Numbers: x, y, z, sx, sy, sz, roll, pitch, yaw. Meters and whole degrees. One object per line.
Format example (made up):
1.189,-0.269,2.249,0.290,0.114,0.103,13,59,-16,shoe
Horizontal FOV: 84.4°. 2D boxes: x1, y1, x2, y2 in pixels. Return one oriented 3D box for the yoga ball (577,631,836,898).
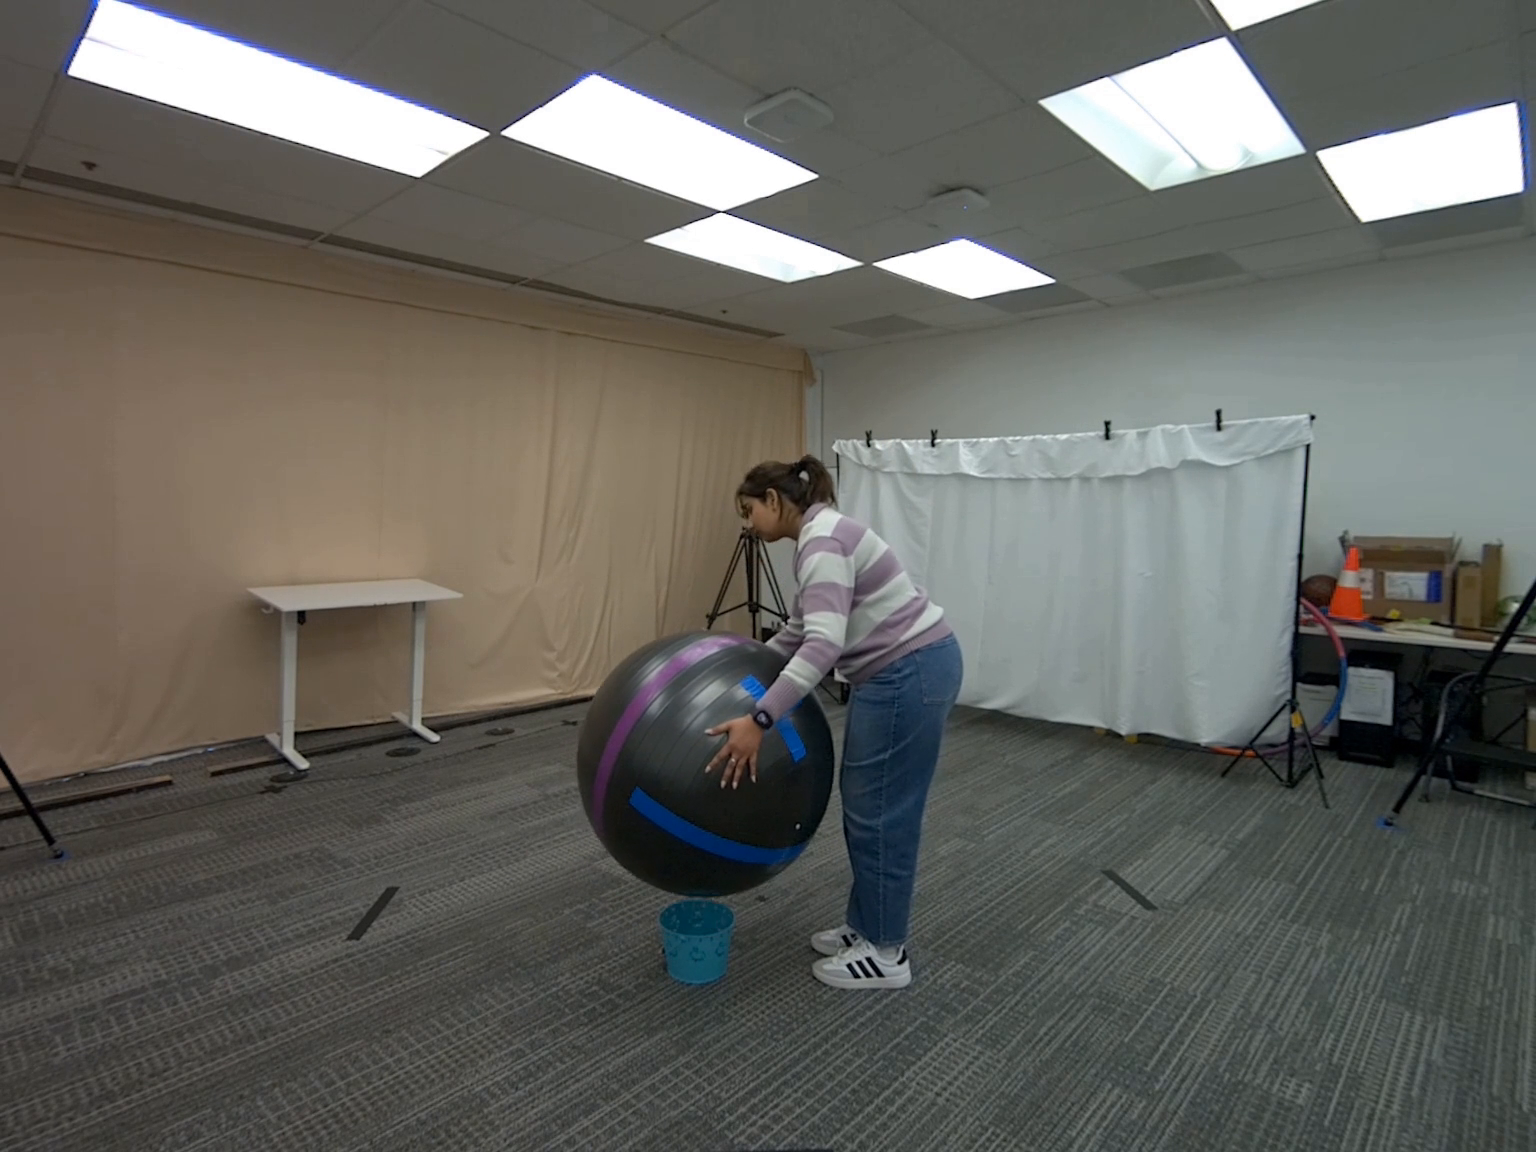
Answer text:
-0.187,0.540,2.491,0.757,0.756,0.761,0,4,-2,yoga ball
